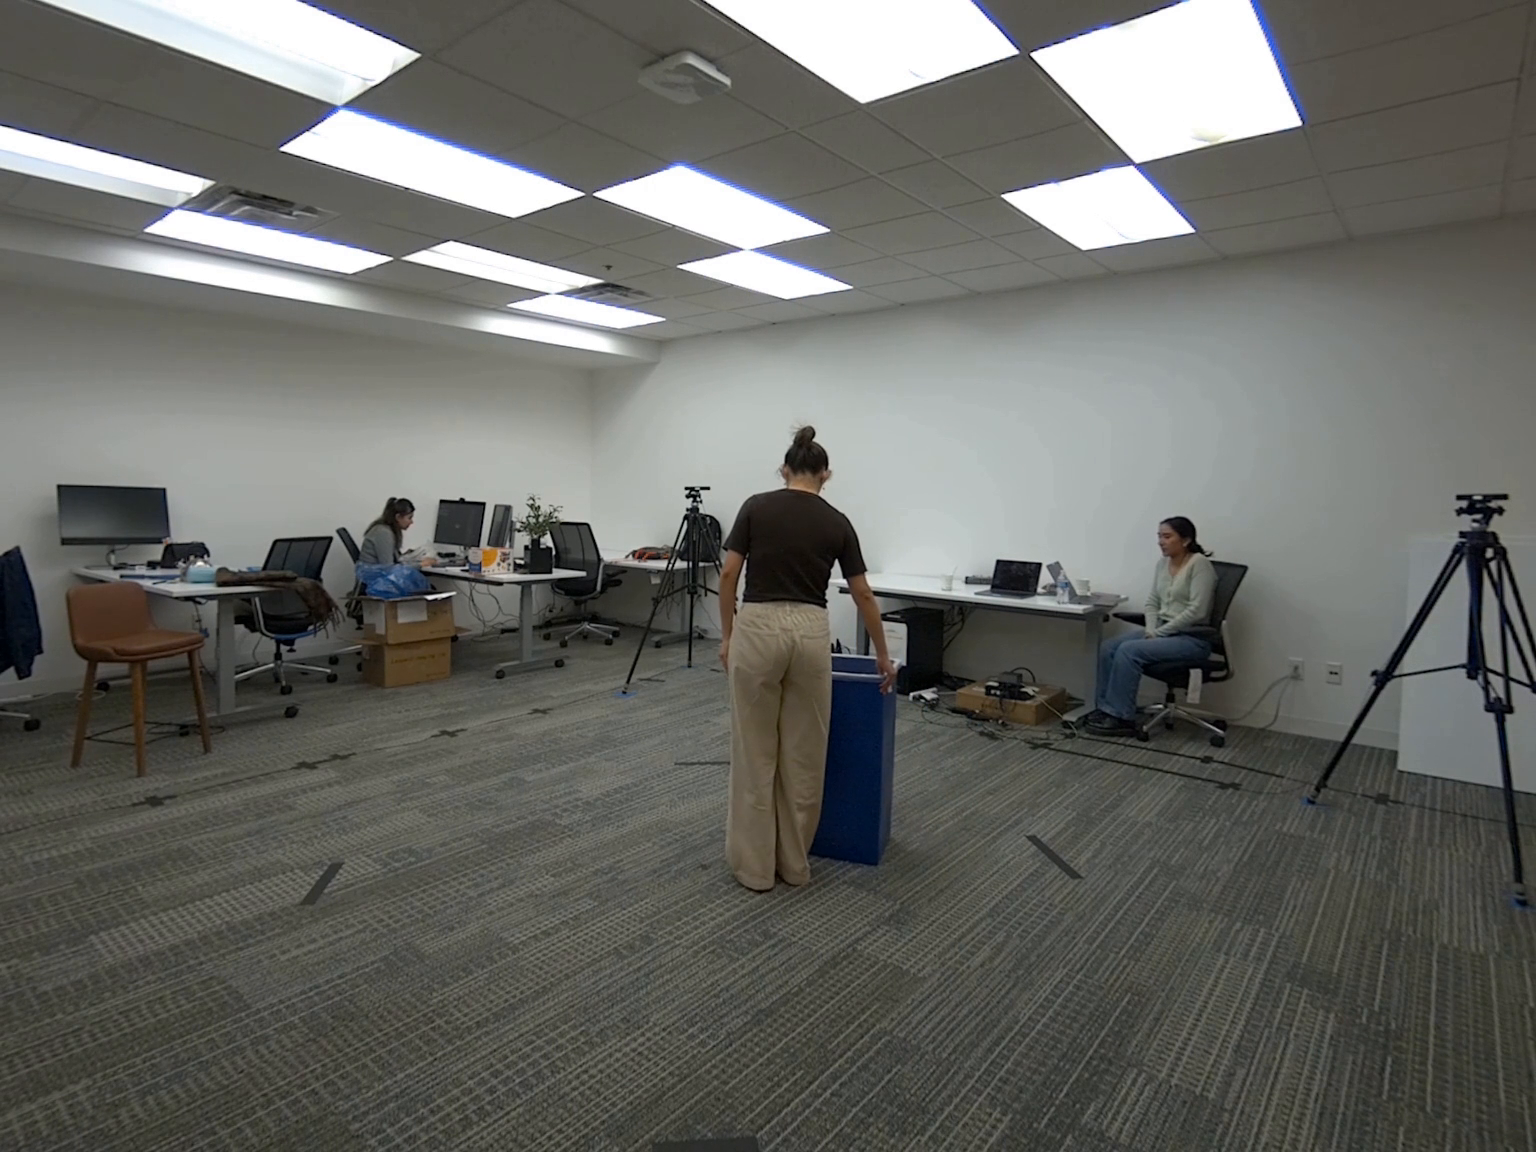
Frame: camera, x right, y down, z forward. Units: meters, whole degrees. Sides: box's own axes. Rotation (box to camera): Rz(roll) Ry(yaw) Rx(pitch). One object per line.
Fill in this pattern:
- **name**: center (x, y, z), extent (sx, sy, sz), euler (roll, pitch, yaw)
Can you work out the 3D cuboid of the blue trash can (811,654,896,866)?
- **blue trash can**: center (0.298, 0.694, 3.328), extent (0.386, 0.711, 0.368), euler (2, 5, 19)
